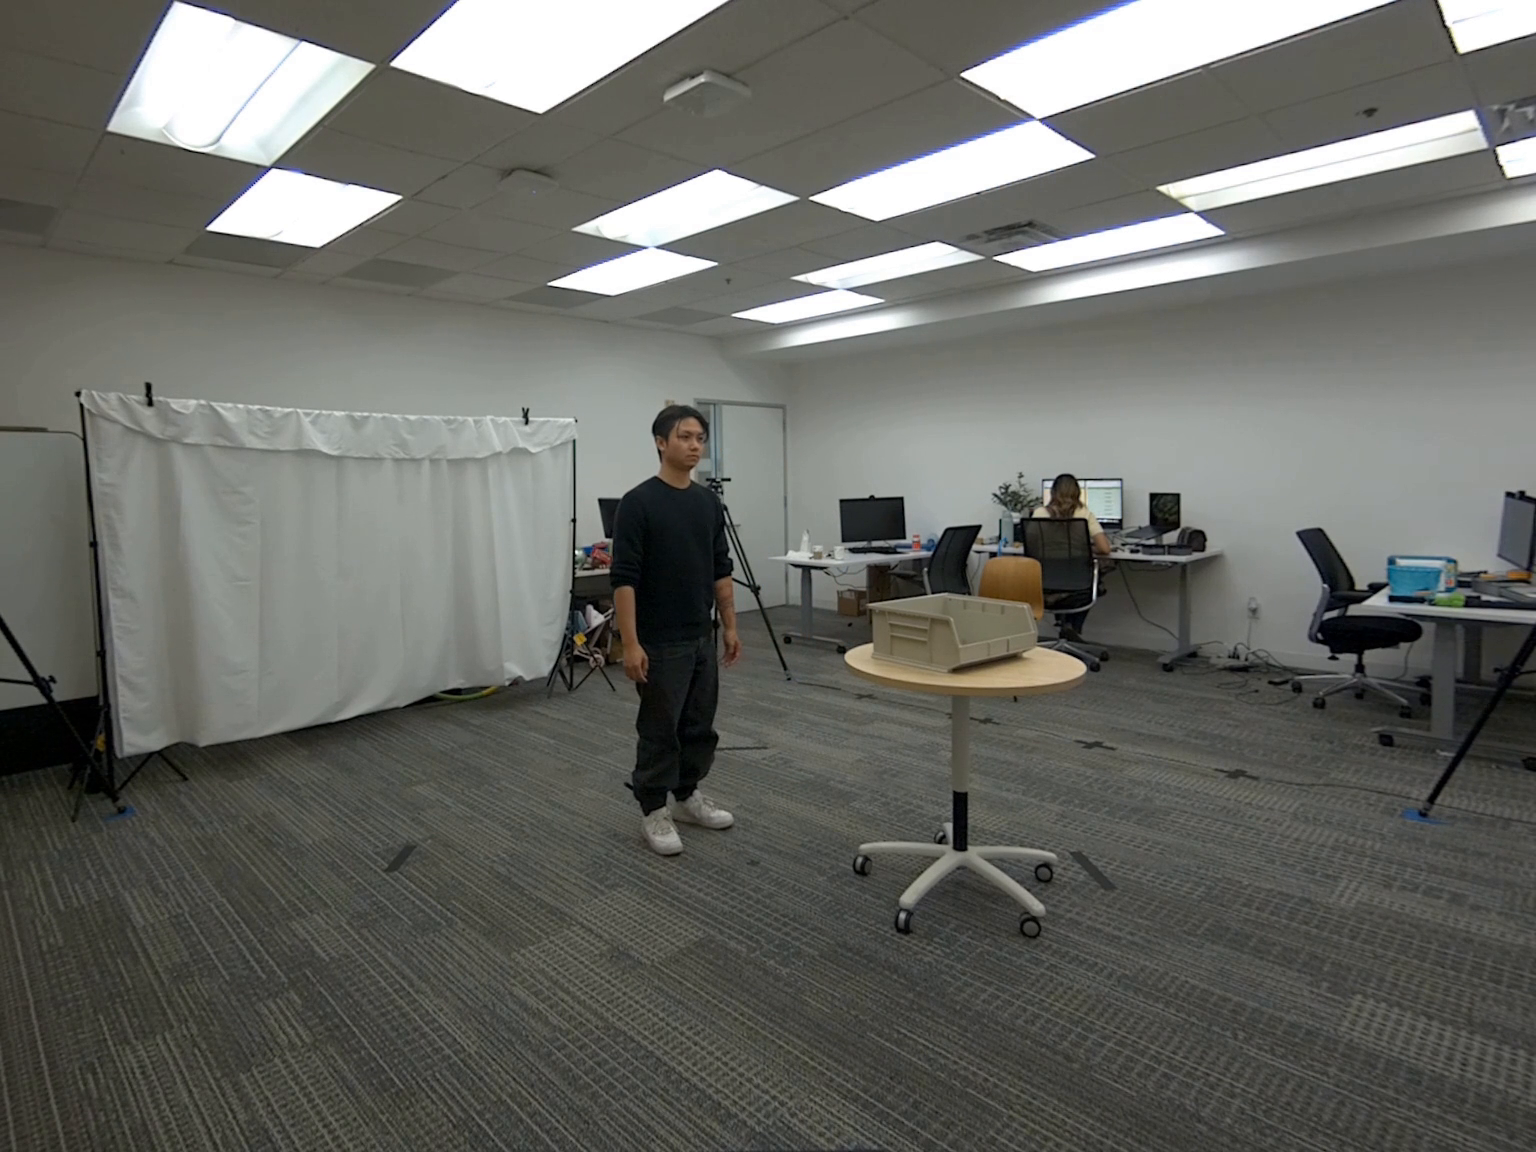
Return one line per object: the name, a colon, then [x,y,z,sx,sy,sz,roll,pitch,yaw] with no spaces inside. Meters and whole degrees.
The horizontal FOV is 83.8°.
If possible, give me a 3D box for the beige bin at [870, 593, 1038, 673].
beige bin: [0.611,0.183,2.854,0.411,0.188,0.388,-6,6,-38]
